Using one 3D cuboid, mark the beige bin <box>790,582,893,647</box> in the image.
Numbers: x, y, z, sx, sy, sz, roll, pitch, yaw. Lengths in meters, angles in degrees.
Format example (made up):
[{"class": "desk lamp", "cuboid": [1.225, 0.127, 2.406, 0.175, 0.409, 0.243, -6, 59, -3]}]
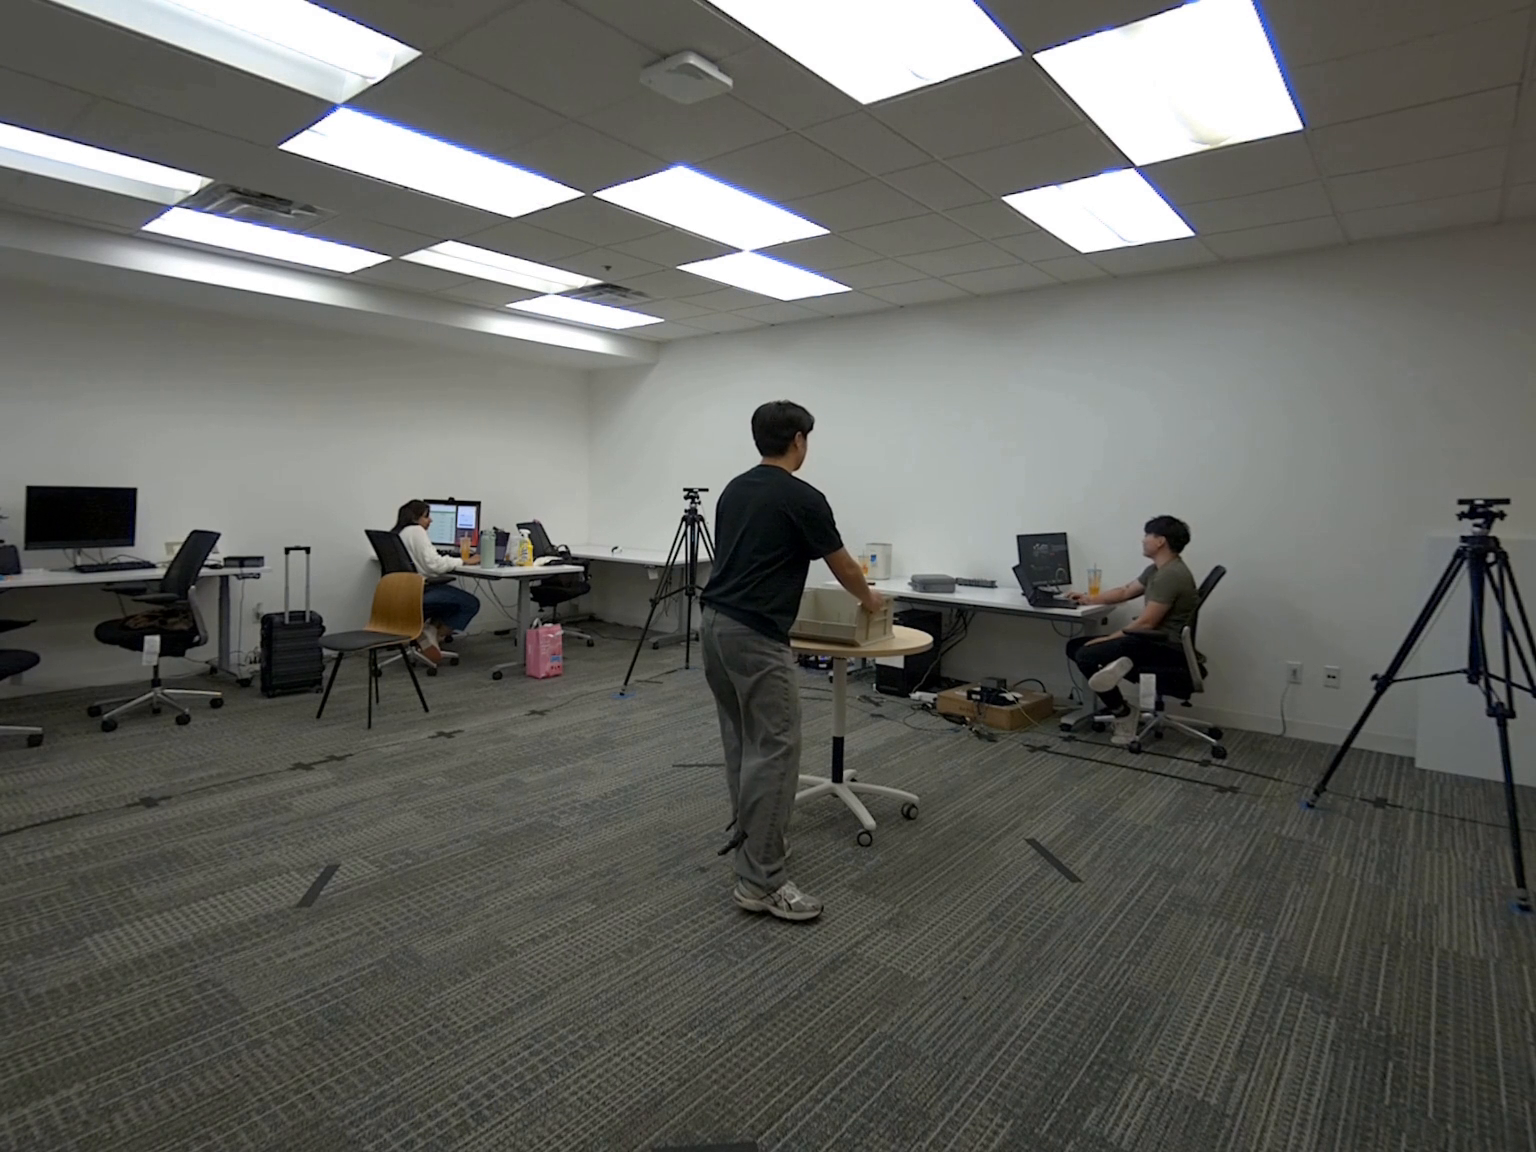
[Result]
[{"class": "beige bin", "cuboid": [0.266, 0.166, 3.556, 0.436, 0.188, 0.366, 4, 5, 35]}]
